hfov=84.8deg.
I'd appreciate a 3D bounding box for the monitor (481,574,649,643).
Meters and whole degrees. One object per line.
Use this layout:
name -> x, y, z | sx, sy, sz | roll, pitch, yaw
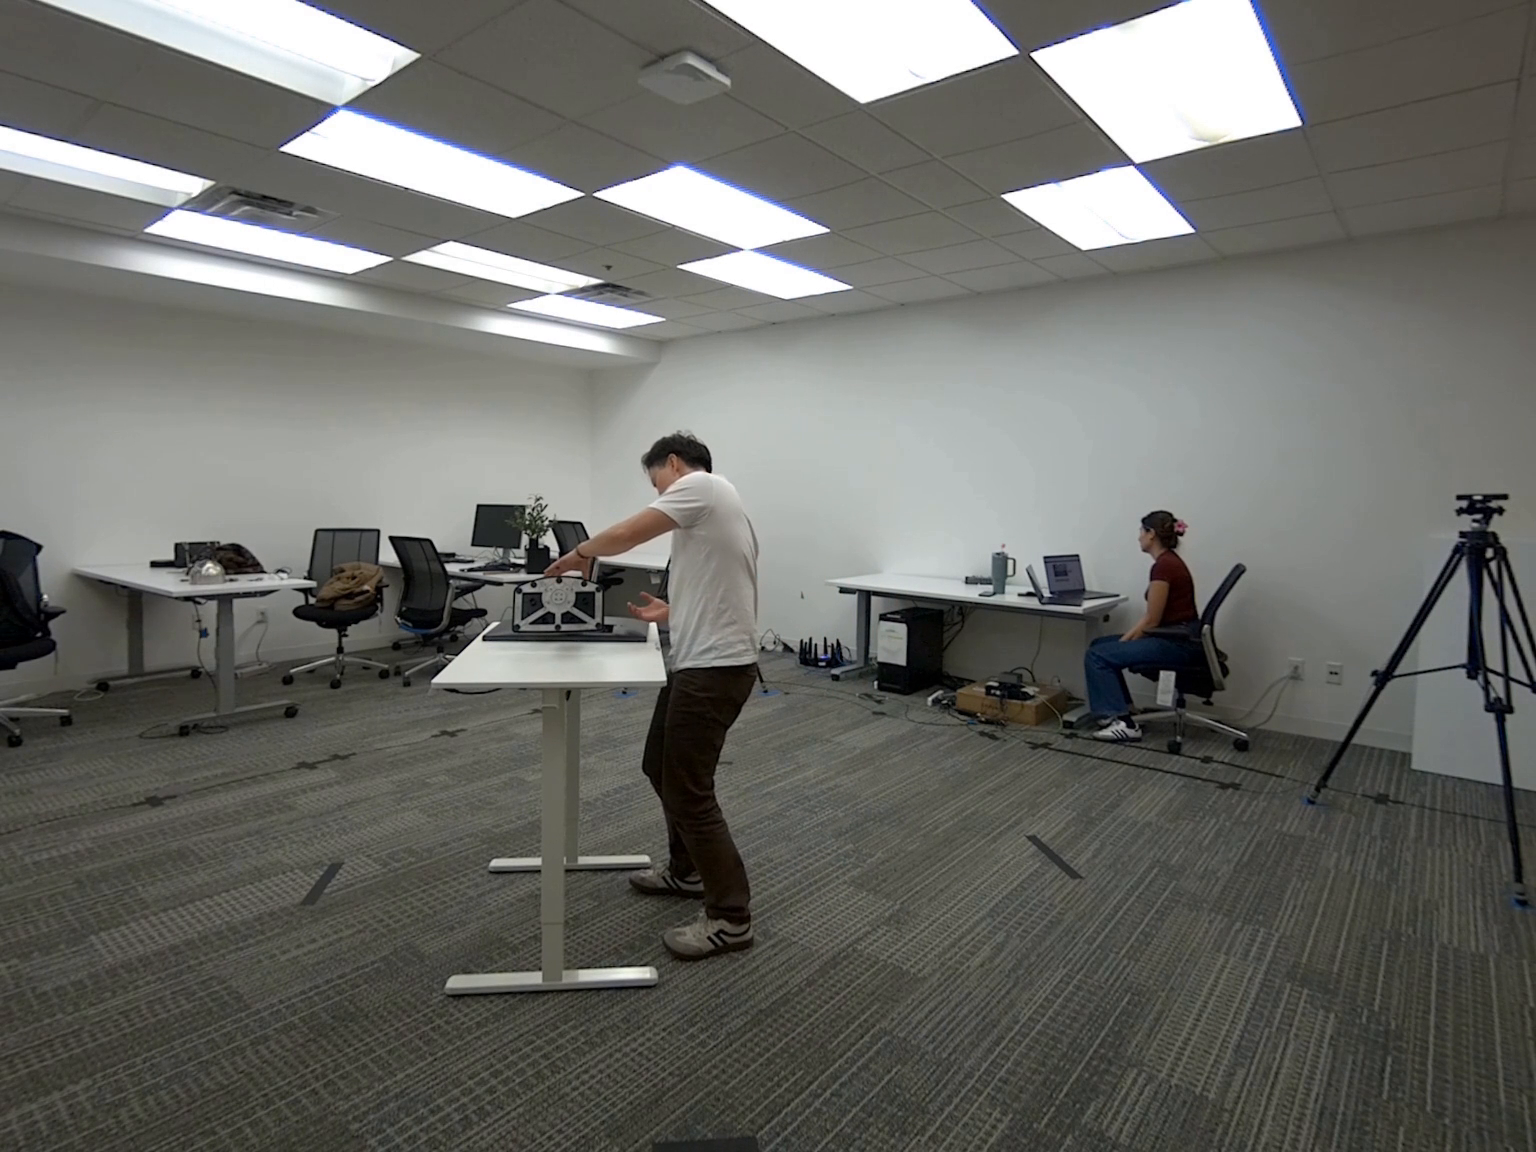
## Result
monitor -> -0.685, 0.139, 2.873 | 0.537, 0.189, 0.518 | 1, -13, -4
